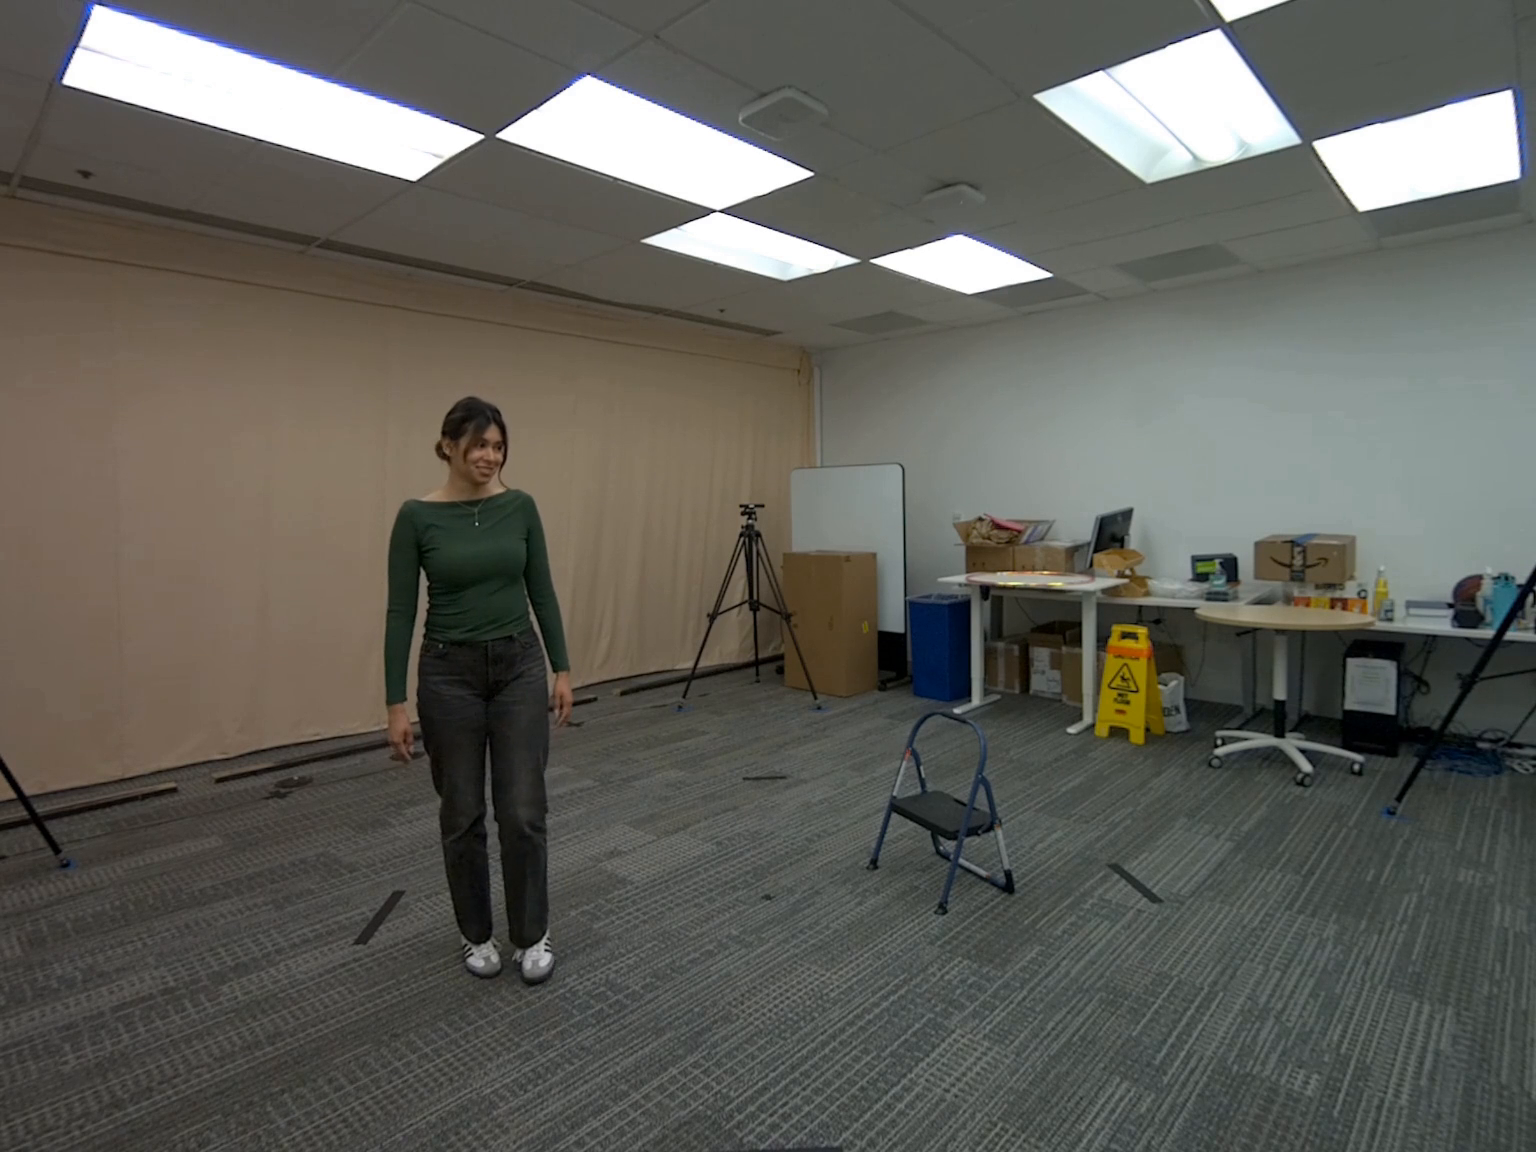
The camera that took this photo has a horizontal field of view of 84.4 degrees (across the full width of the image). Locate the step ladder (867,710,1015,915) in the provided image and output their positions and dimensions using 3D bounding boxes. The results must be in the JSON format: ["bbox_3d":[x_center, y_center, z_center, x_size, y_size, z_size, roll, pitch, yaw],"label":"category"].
[{"bbox_3d":[0.631,0.815,3.080,0.340,0.605,0.442,-2,4,-28],"label":"step ladder"}]
